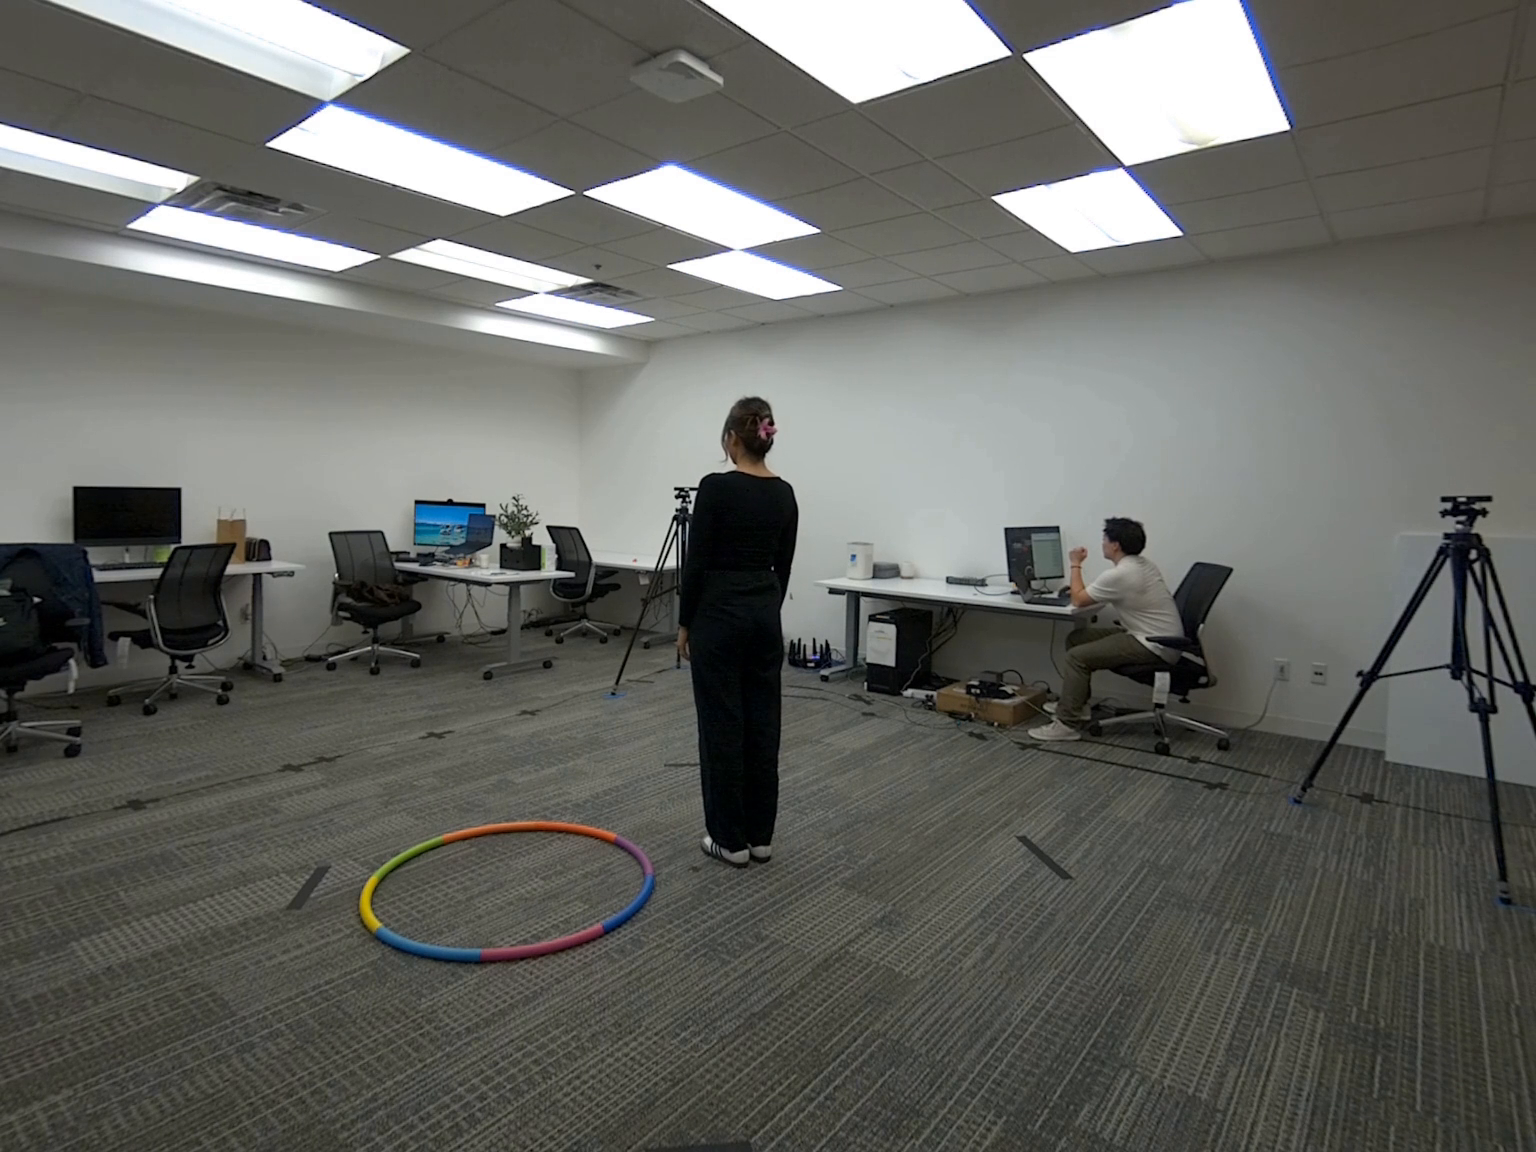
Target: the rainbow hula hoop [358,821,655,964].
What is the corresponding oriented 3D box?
[{"bbox_3d":[-0.894,1.046,2.953,0.984,0.051,0.991,1,6,-2],"label":"rainbow hula hoop"}]
